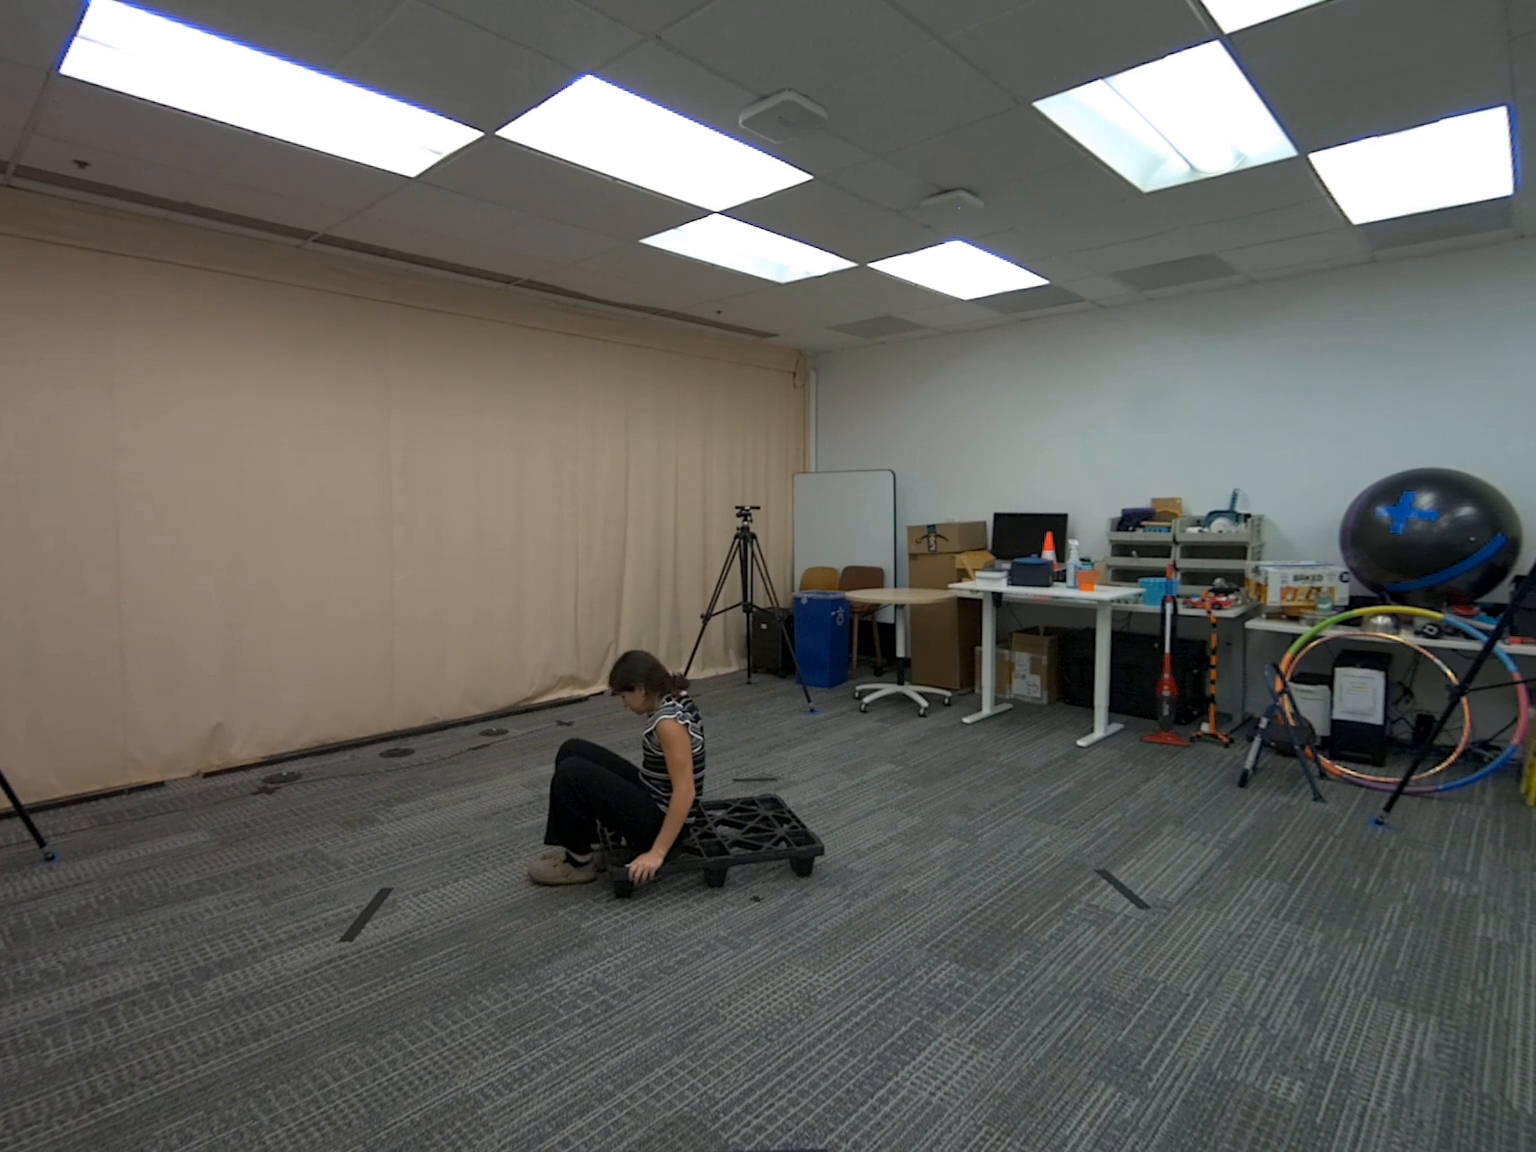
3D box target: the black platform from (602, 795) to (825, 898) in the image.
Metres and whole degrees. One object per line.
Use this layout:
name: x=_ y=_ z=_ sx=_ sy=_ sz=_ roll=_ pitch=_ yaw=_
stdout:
black platform: x=-0.254 y=1.053 z=3.296 sx=0.794 sy=0.143 sz=0.615 roll=-3 pitch=4 yaw=-15
